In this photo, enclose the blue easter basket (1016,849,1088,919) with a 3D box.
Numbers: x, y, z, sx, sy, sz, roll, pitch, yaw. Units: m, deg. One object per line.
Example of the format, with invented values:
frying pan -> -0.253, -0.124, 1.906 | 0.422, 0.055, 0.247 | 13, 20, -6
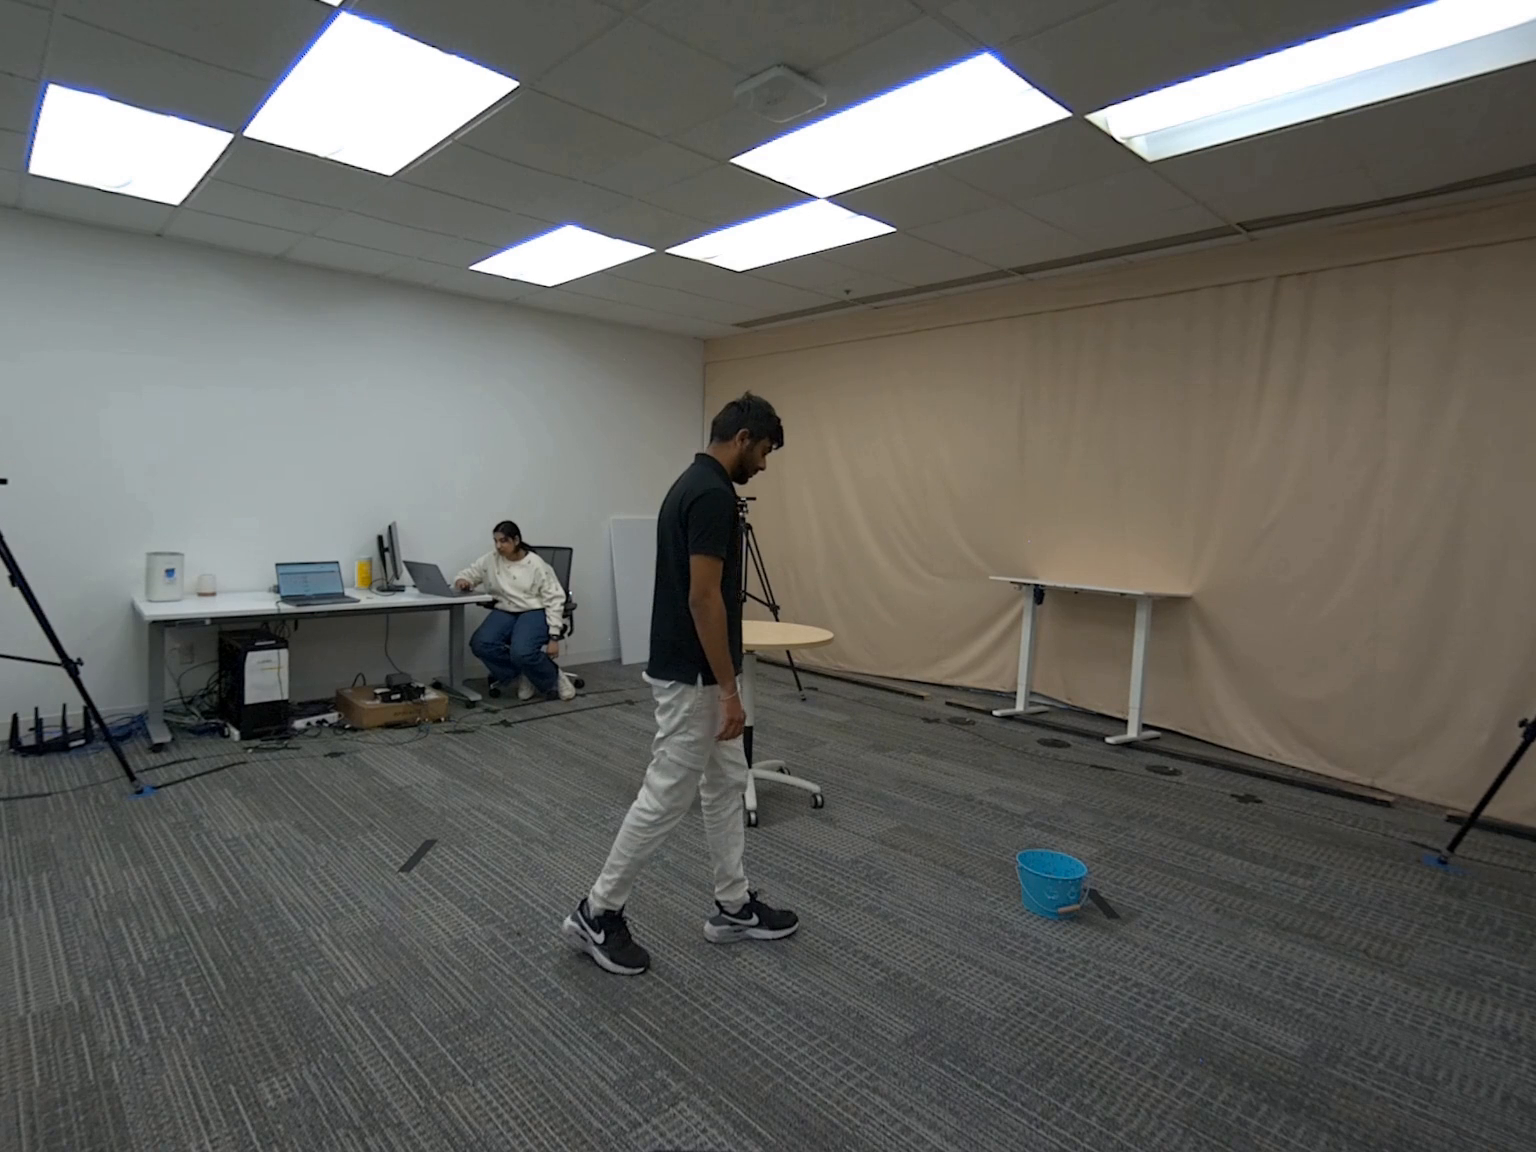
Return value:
blue easter basket -> 0.969, 1.072, 2.937 | 0.243, 0.155, 0.244 | 1, 4, -1
